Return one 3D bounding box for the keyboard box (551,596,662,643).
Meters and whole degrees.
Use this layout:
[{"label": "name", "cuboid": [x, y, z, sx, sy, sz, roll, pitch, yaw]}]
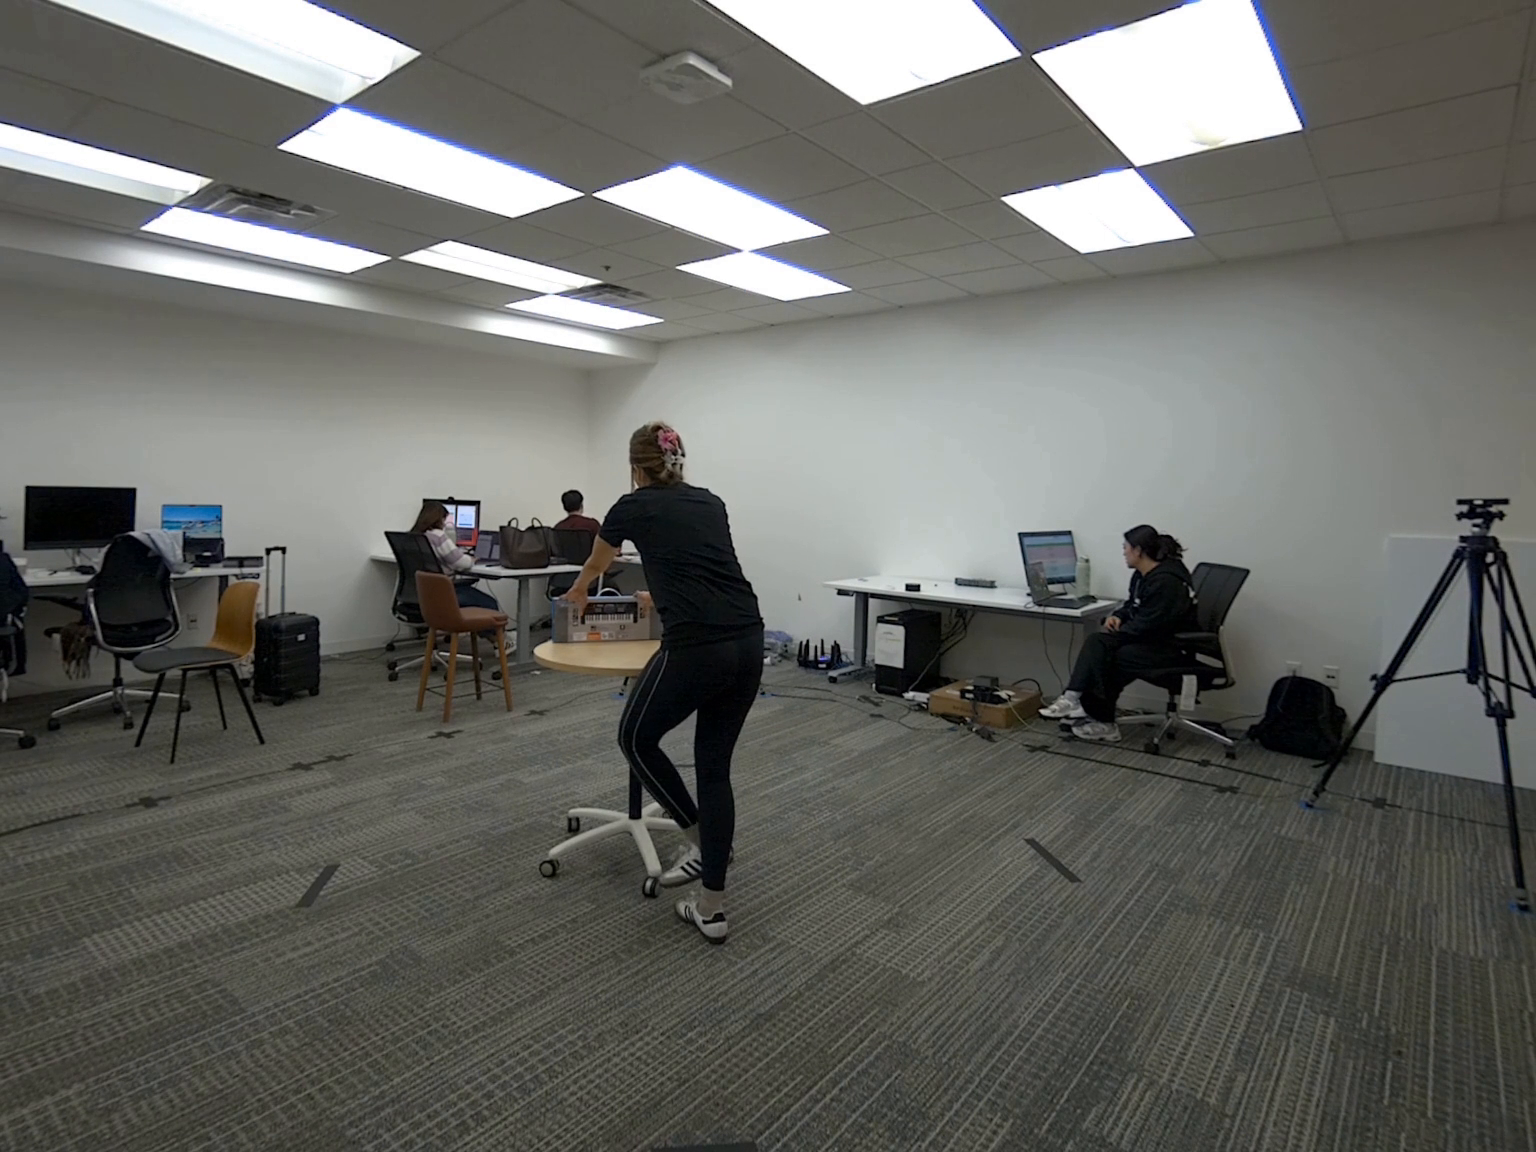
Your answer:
[{"label": "keyboard box", "cuboid": [-0.643, 0.166, 3.371, 0.430, 0.175, 0.060, -1, 2, -16]}]
